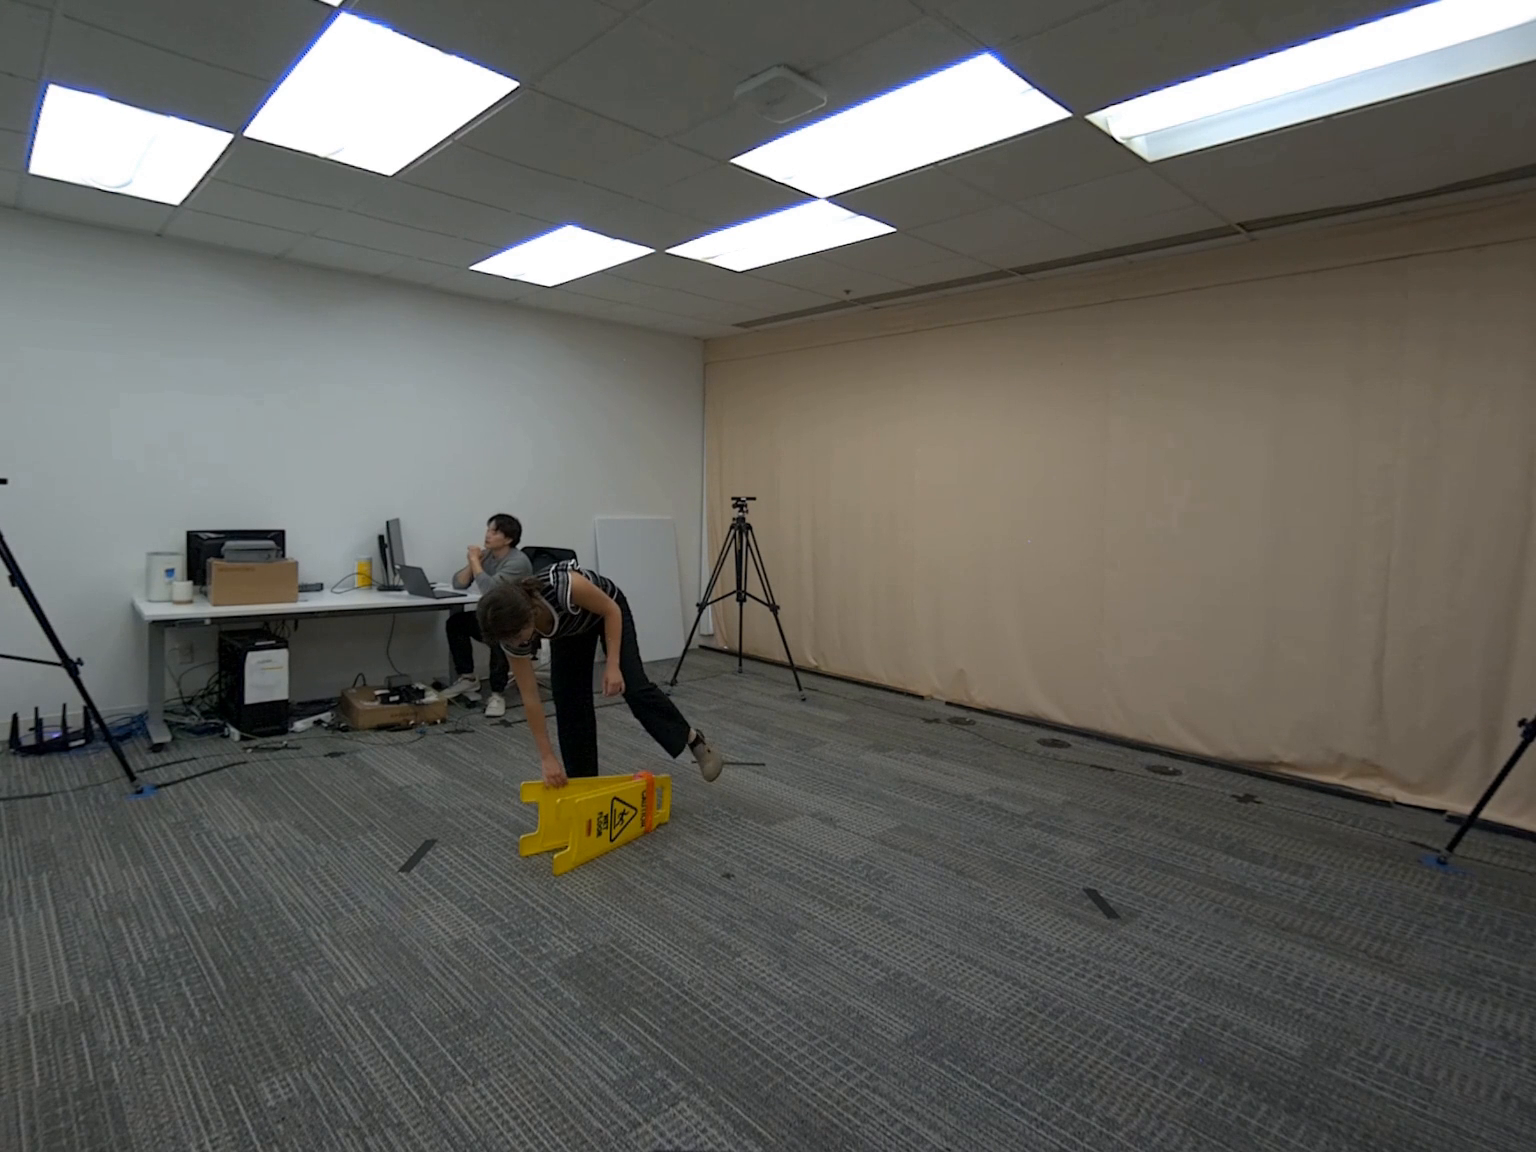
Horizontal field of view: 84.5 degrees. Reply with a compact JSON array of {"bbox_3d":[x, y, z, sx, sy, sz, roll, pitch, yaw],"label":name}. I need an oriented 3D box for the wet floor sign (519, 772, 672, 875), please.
[{"bbox_3d":[-0.658,0.948,3.381,0.297,0.282,0.630,3,1,44],"label":"wet floor sign"}]
